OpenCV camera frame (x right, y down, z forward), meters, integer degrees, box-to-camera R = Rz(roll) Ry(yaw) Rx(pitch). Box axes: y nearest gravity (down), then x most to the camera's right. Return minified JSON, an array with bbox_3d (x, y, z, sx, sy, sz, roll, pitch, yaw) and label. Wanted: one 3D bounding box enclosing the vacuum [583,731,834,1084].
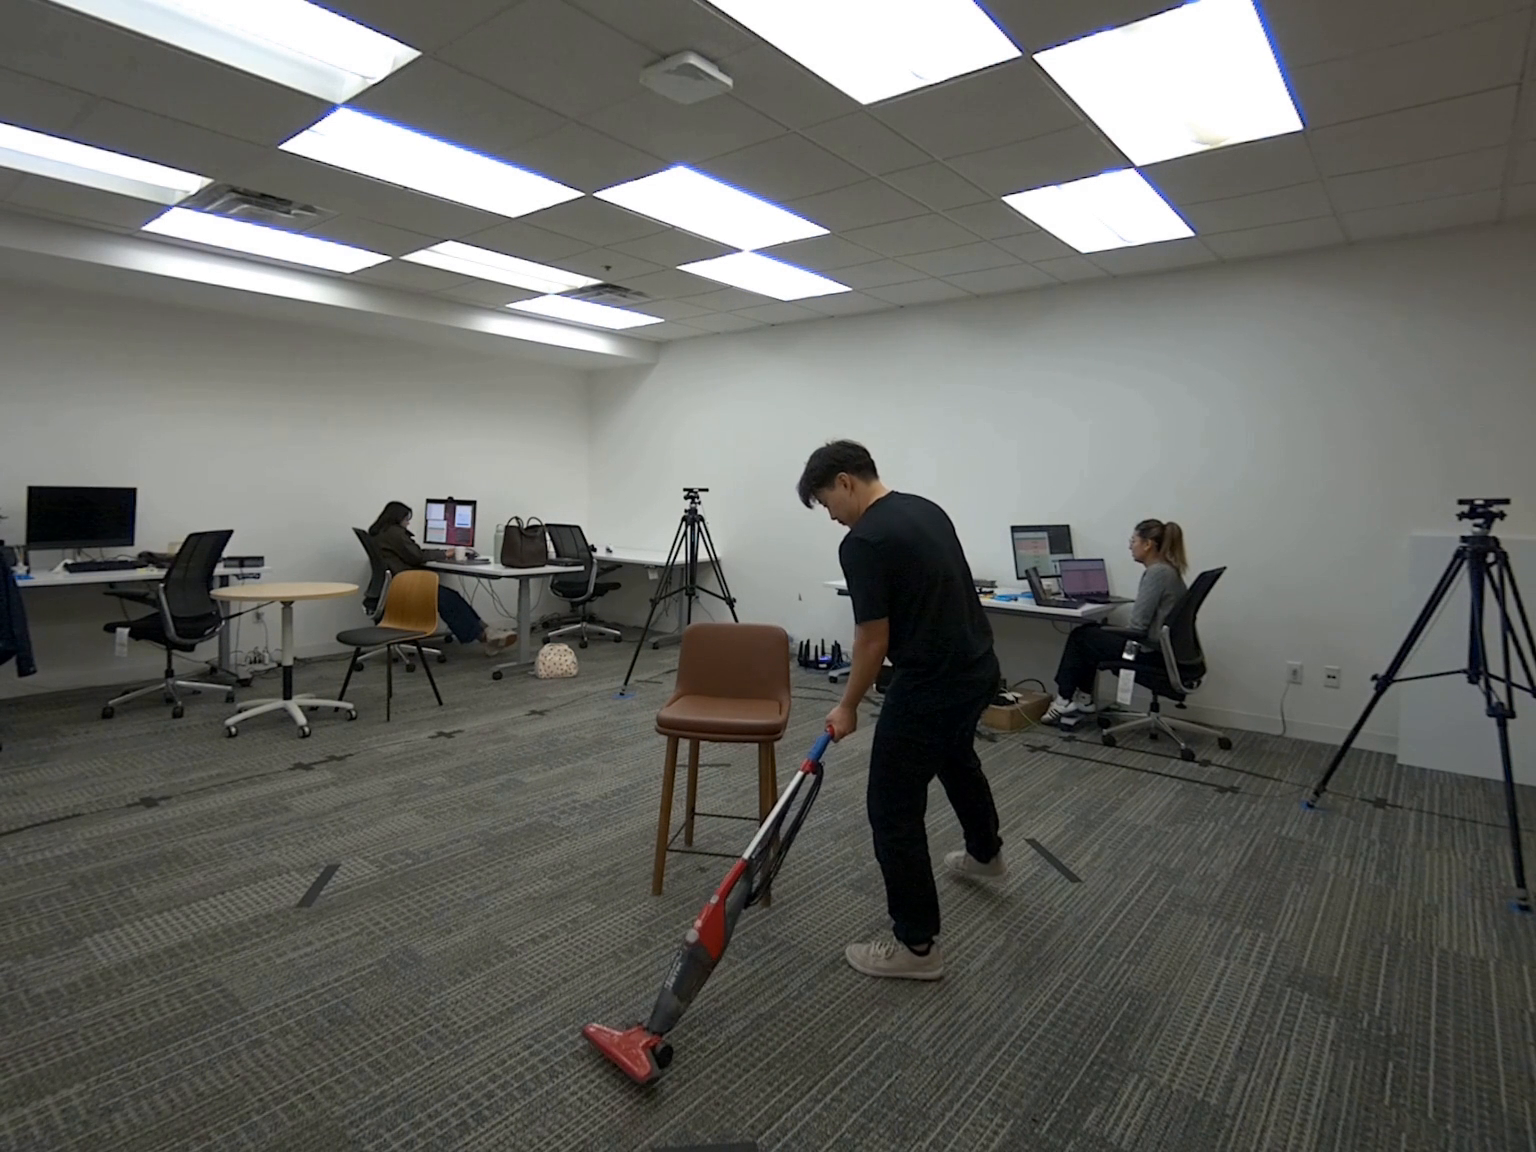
[{"bbox_3d":[-0.041,0.814,2.312,0.262,0.139,1.049,14,50,39],"label":"vacuum"}]
